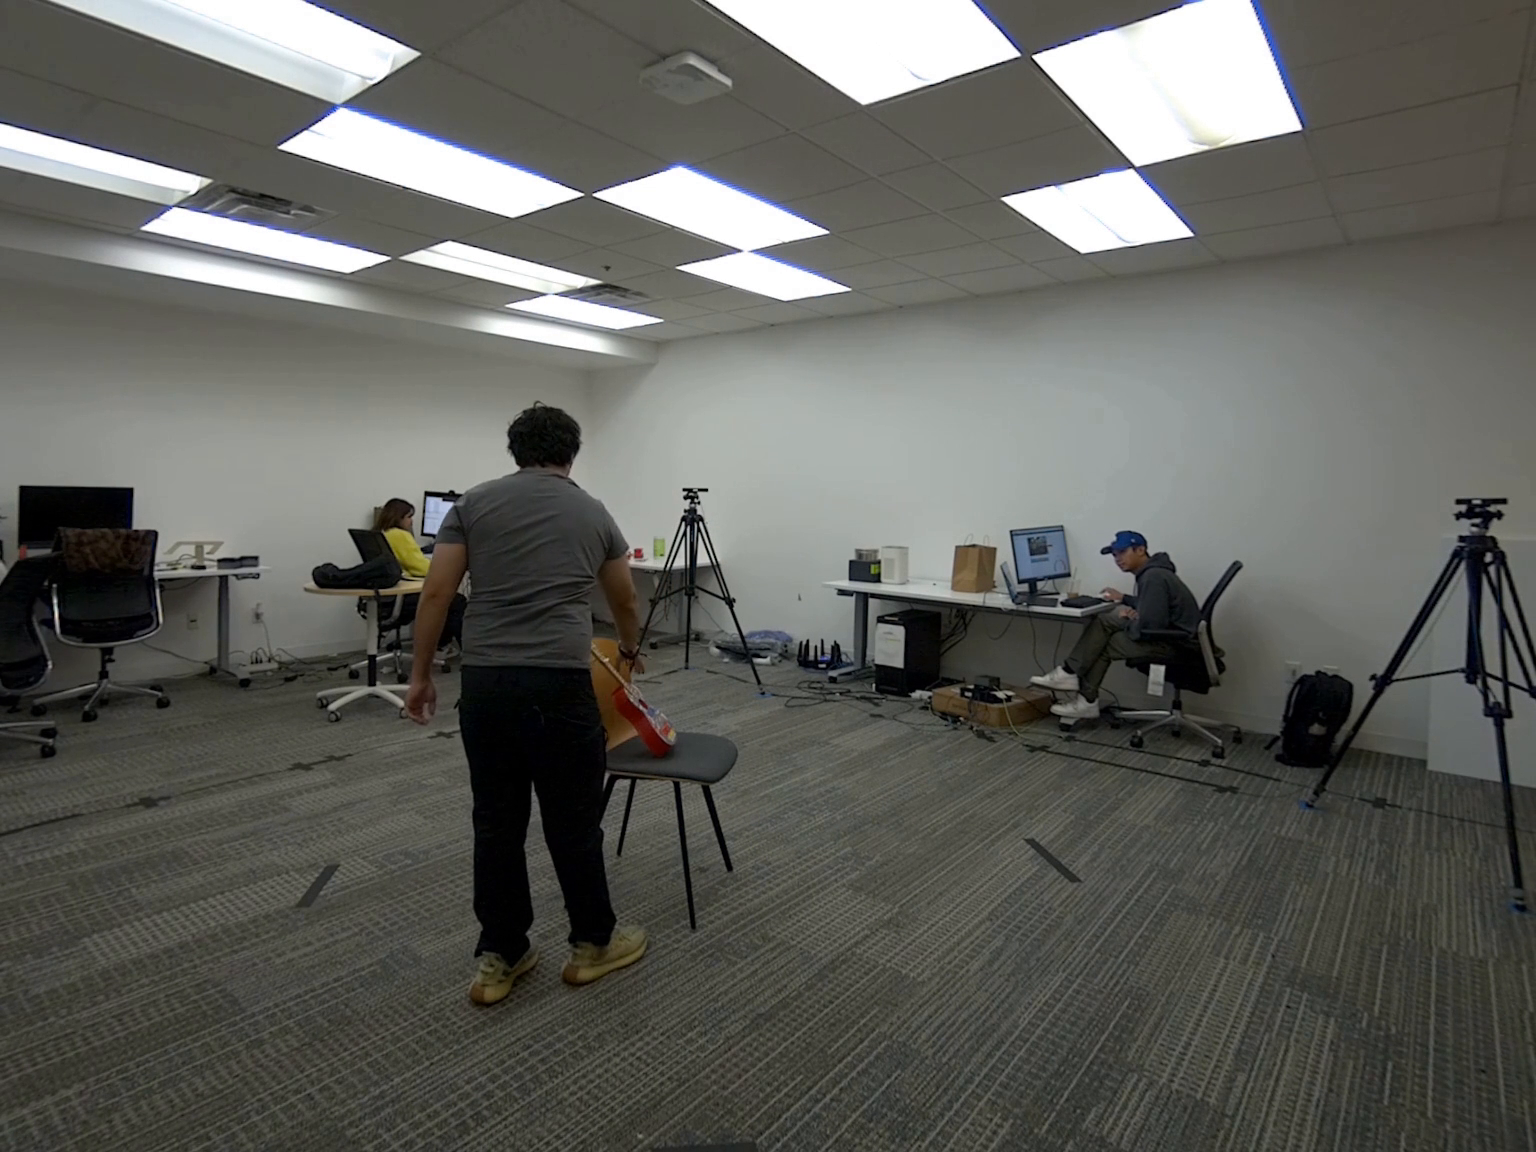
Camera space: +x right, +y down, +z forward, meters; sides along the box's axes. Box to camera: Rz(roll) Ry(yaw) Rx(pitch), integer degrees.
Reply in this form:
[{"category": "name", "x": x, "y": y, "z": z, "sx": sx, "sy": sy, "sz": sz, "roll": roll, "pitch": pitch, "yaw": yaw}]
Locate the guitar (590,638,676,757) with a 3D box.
[{"category": "guitar", "x": -0.506, "y": 0.403, "z": 2.967, "sx": 0.071, "sy": 0.501, "sz": 0.191, "roll": -41, "pitch": -4, "yaw": 7}]
